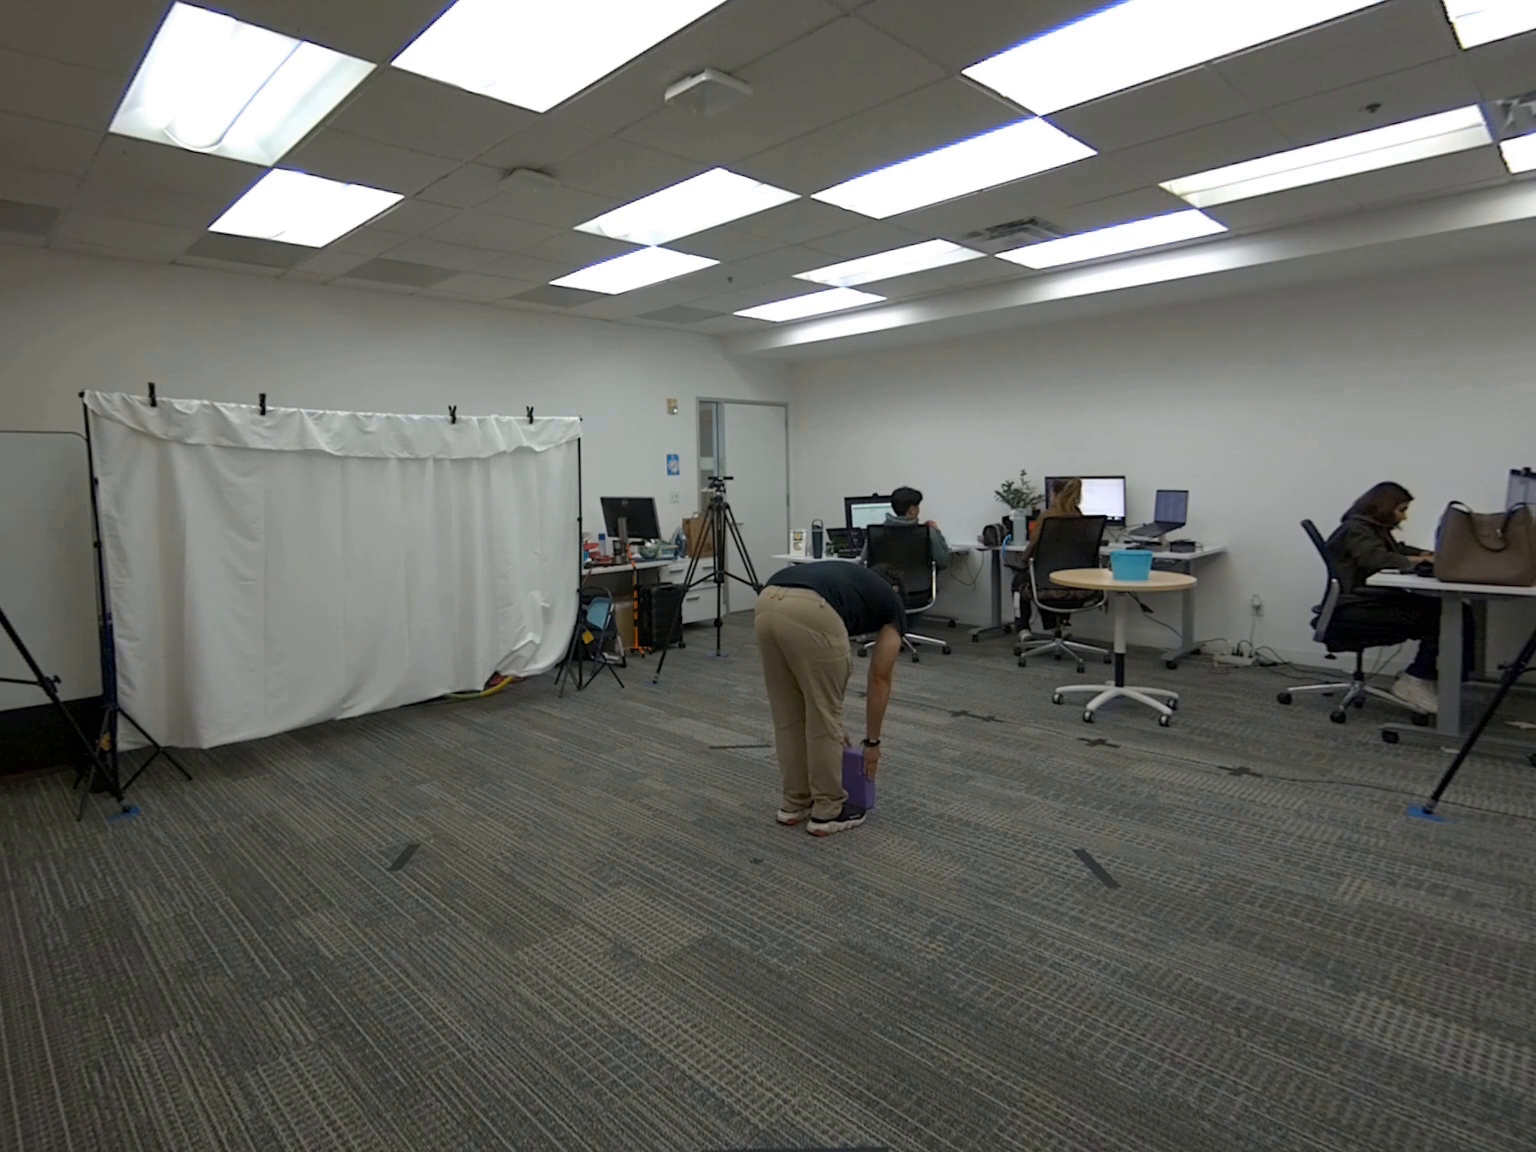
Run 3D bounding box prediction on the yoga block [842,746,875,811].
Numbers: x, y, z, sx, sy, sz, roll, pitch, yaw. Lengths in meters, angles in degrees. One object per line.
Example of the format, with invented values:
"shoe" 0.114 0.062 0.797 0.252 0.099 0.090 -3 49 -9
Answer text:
"yoga block" 0.375 0.855 3.619 0.074 0.229 0.153 0 2 -40
